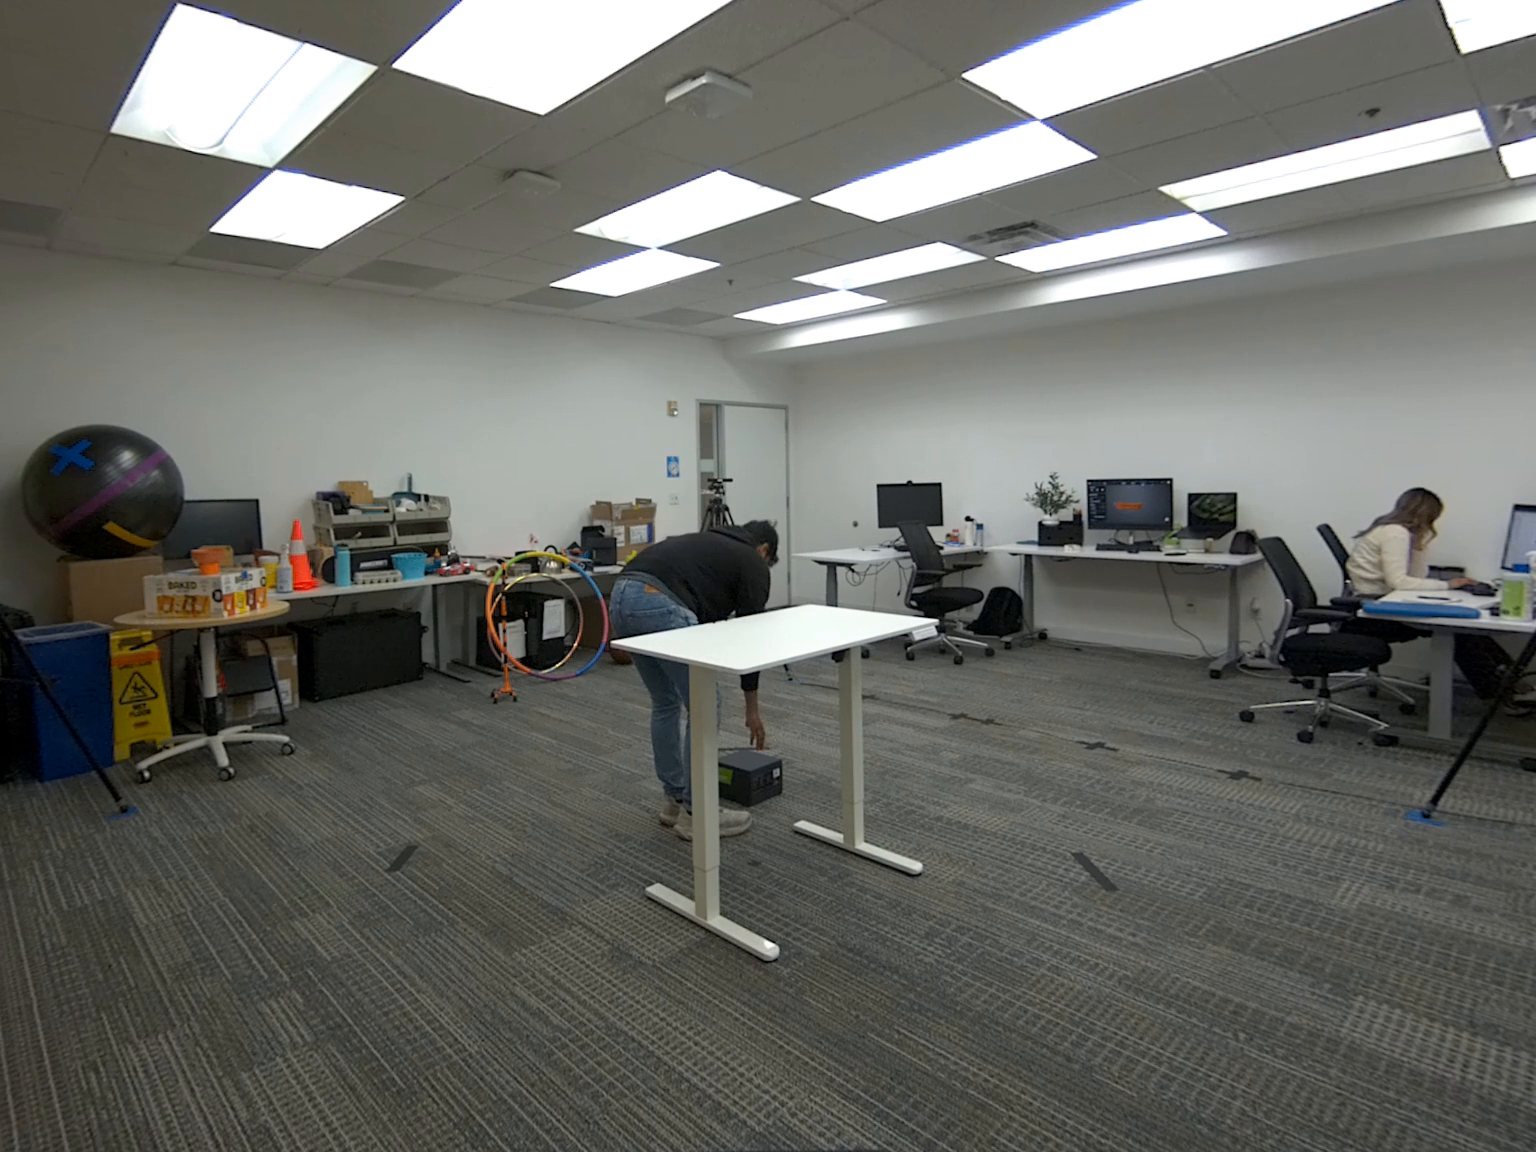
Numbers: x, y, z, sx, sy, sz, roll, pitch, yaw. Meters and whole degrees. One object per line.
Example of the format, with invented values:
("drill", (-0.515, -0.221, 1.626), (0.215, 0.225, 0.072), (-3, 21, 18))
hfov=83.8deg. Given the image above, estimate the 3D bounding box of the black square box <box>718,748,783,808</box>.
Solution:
("black square box", (-0.091, 0.885, 3.778), (0.235, 0.155, 0.211), (3, 7, 42))
